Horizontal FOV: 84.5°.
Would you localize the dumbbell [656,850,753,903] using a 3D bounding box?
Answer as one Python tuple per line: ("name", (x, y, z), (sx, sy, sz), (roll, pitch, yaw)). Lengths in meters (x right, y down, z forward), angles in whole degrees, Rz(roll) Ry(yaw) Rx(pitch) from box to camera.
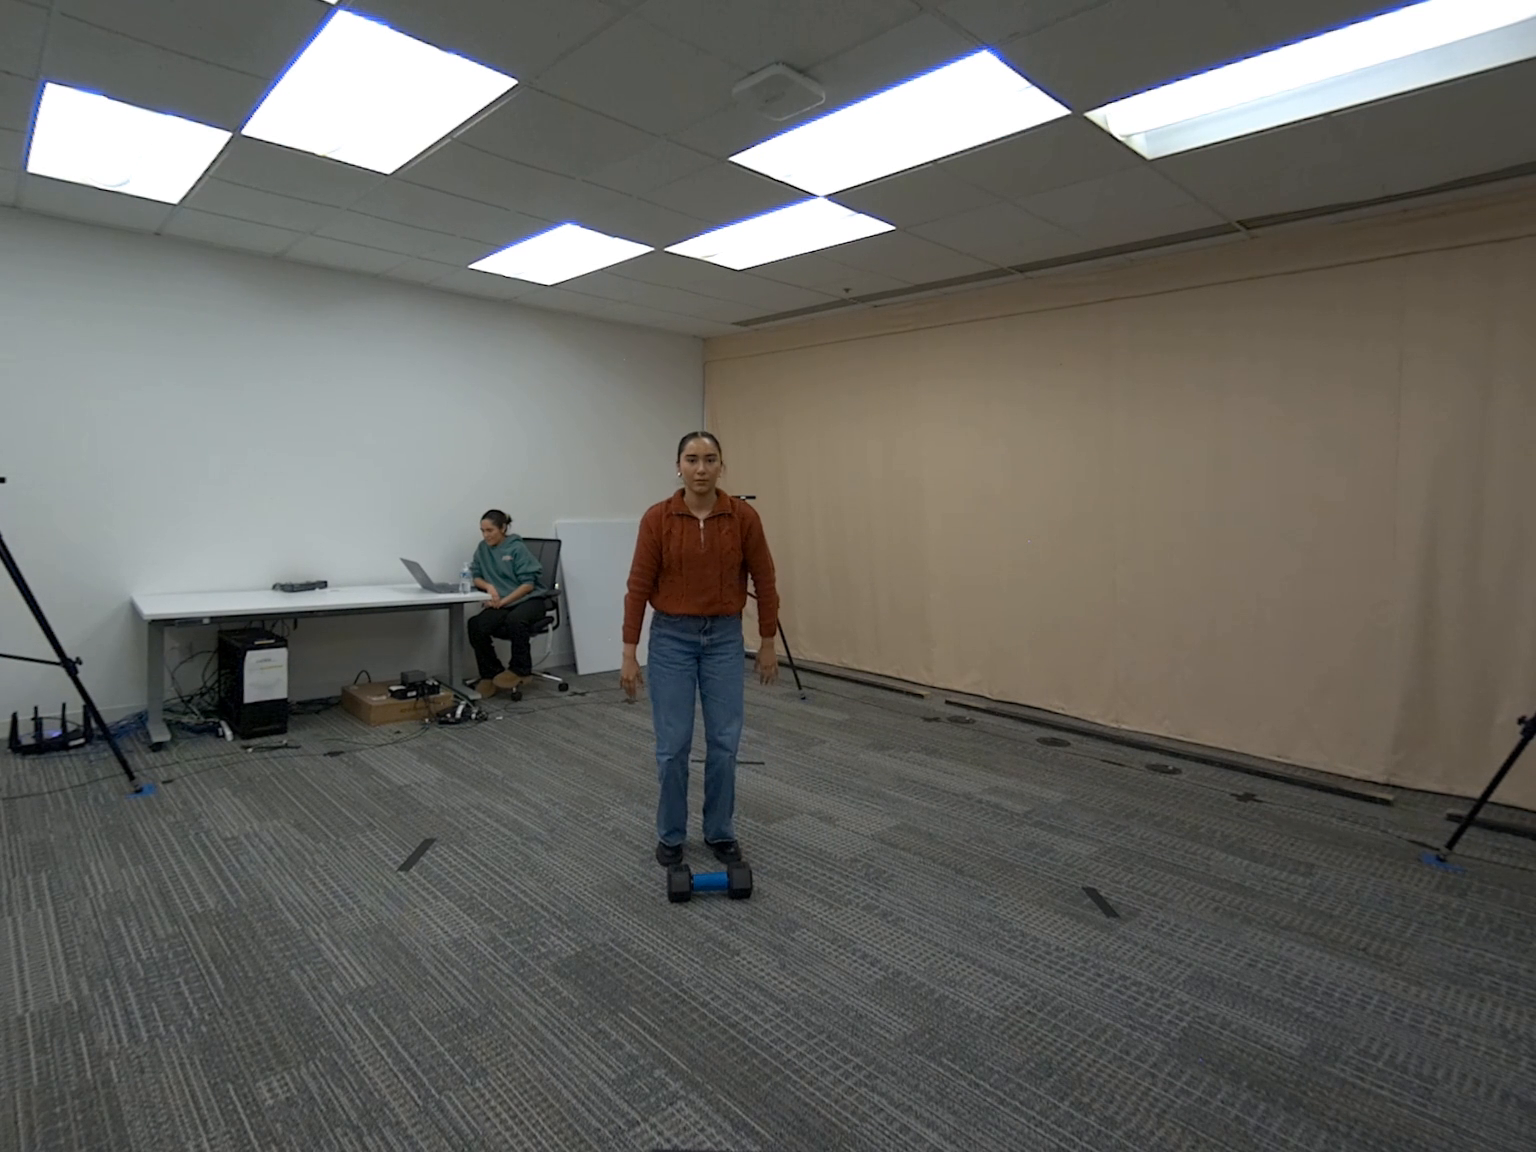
("dumbbell", (-0.209, 1.063, 2.925), (0.291, 0.108, 0.124), (0, 4, -9))
